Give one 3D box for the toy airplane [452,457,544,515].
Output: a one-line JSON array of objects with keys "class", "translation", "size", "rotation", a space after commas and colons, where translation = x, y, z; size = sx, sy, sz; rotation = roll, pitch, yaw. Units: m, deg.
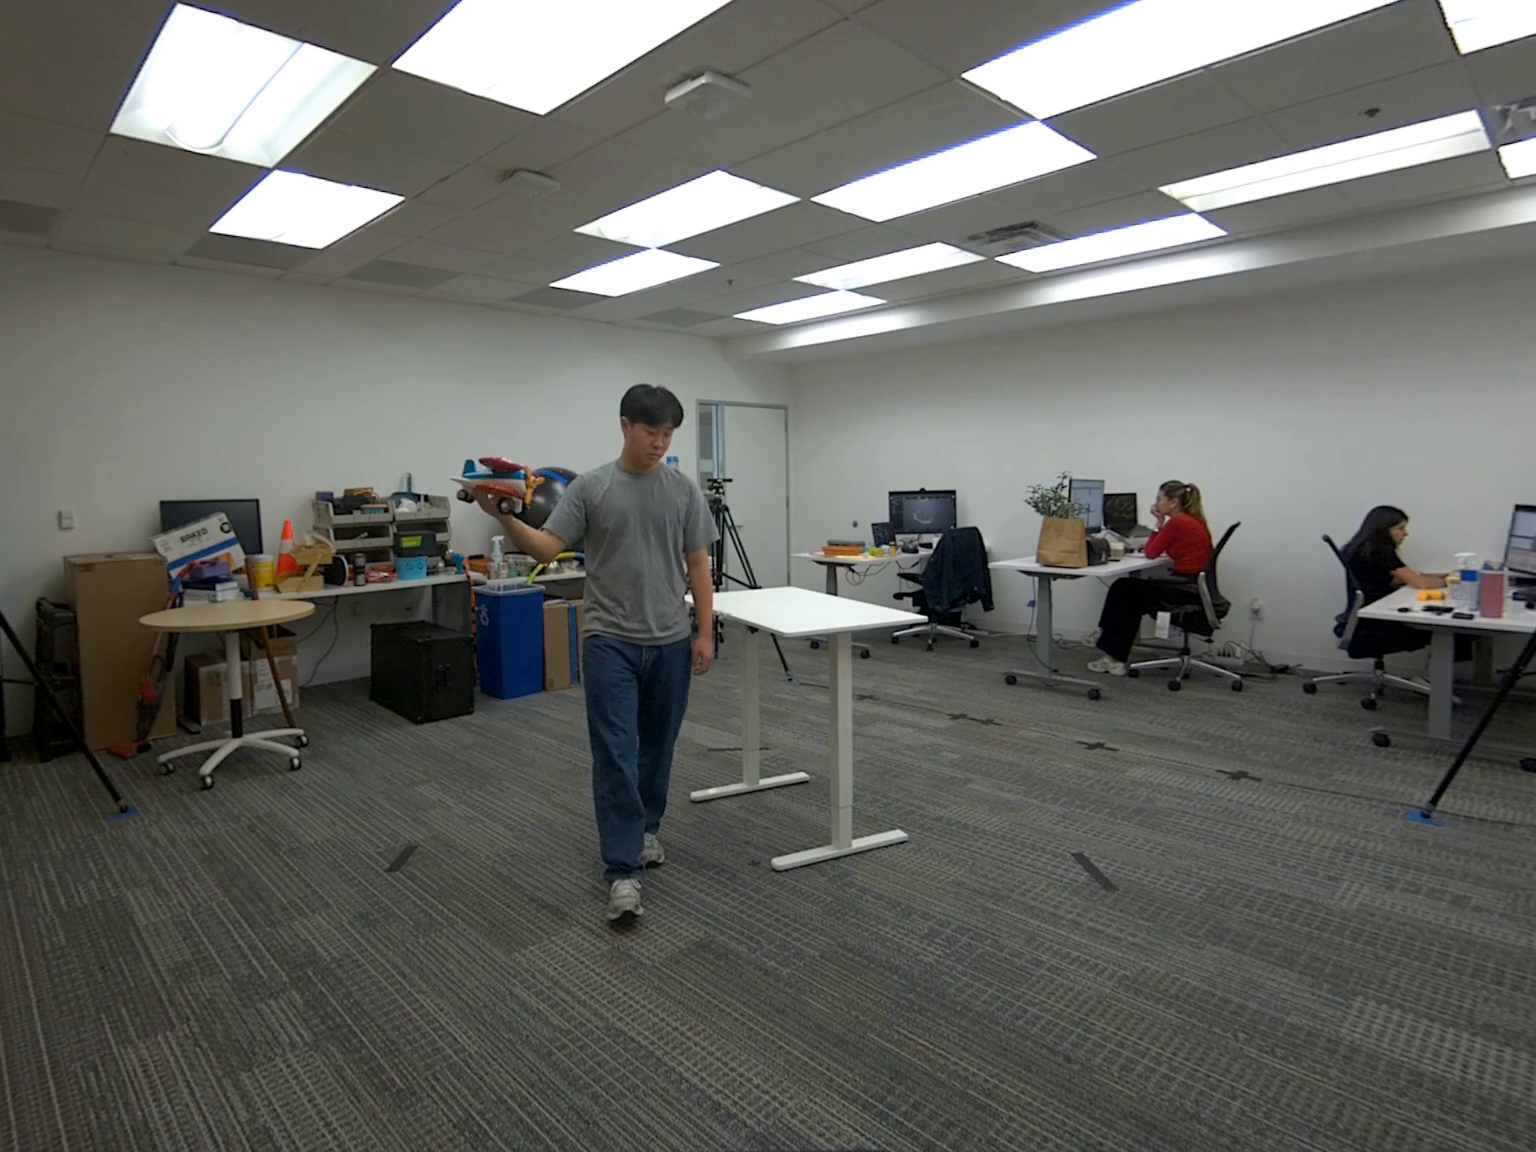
[{"class": "toy airplane", "translation": [-0.821, -0.271, 2.555], "size": [0.256, 0.157, 0.253], "rotation": [19, -4, -9]}]
